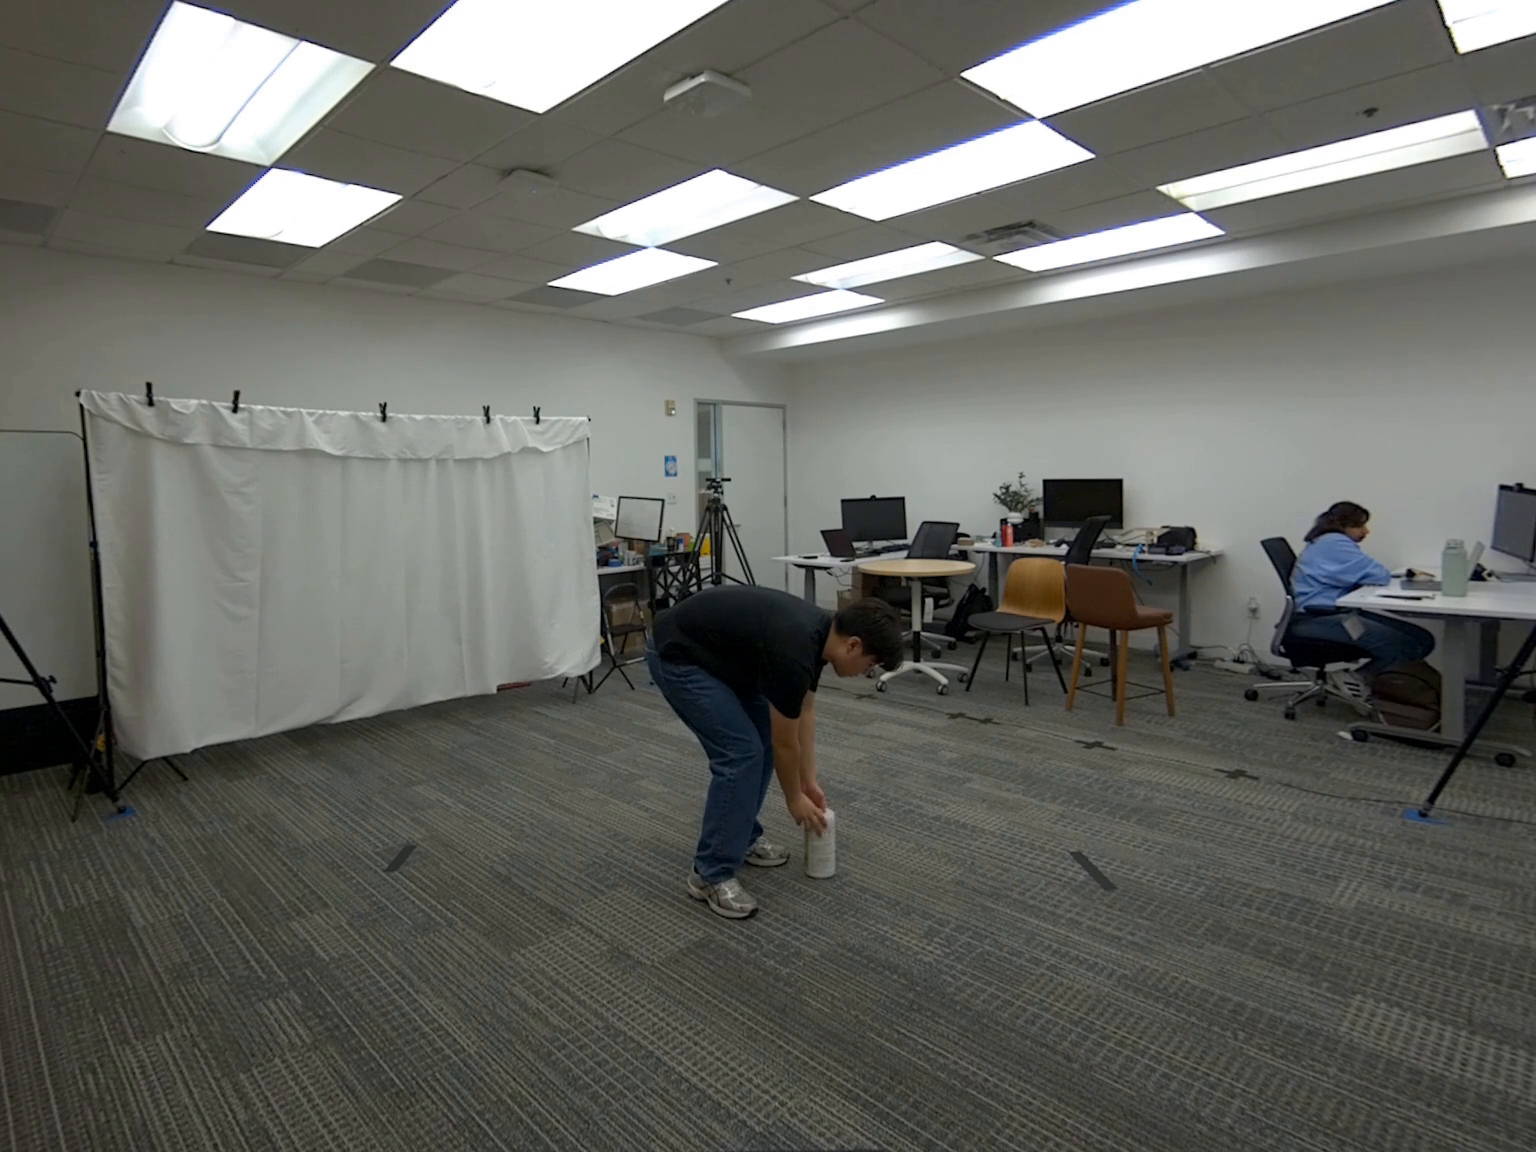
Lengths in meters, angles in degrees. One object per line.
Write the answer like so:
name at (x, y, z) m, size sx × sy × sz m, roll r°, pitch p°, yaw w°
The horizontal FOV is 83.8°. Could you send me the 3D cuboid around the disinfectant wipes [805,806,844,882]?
disinfectant wipes at (0.194, 0.933, 2.996) m, size 0.118 × 0.216 × 0.118 m, roll 0°, pitch 5°, yaw -2°
